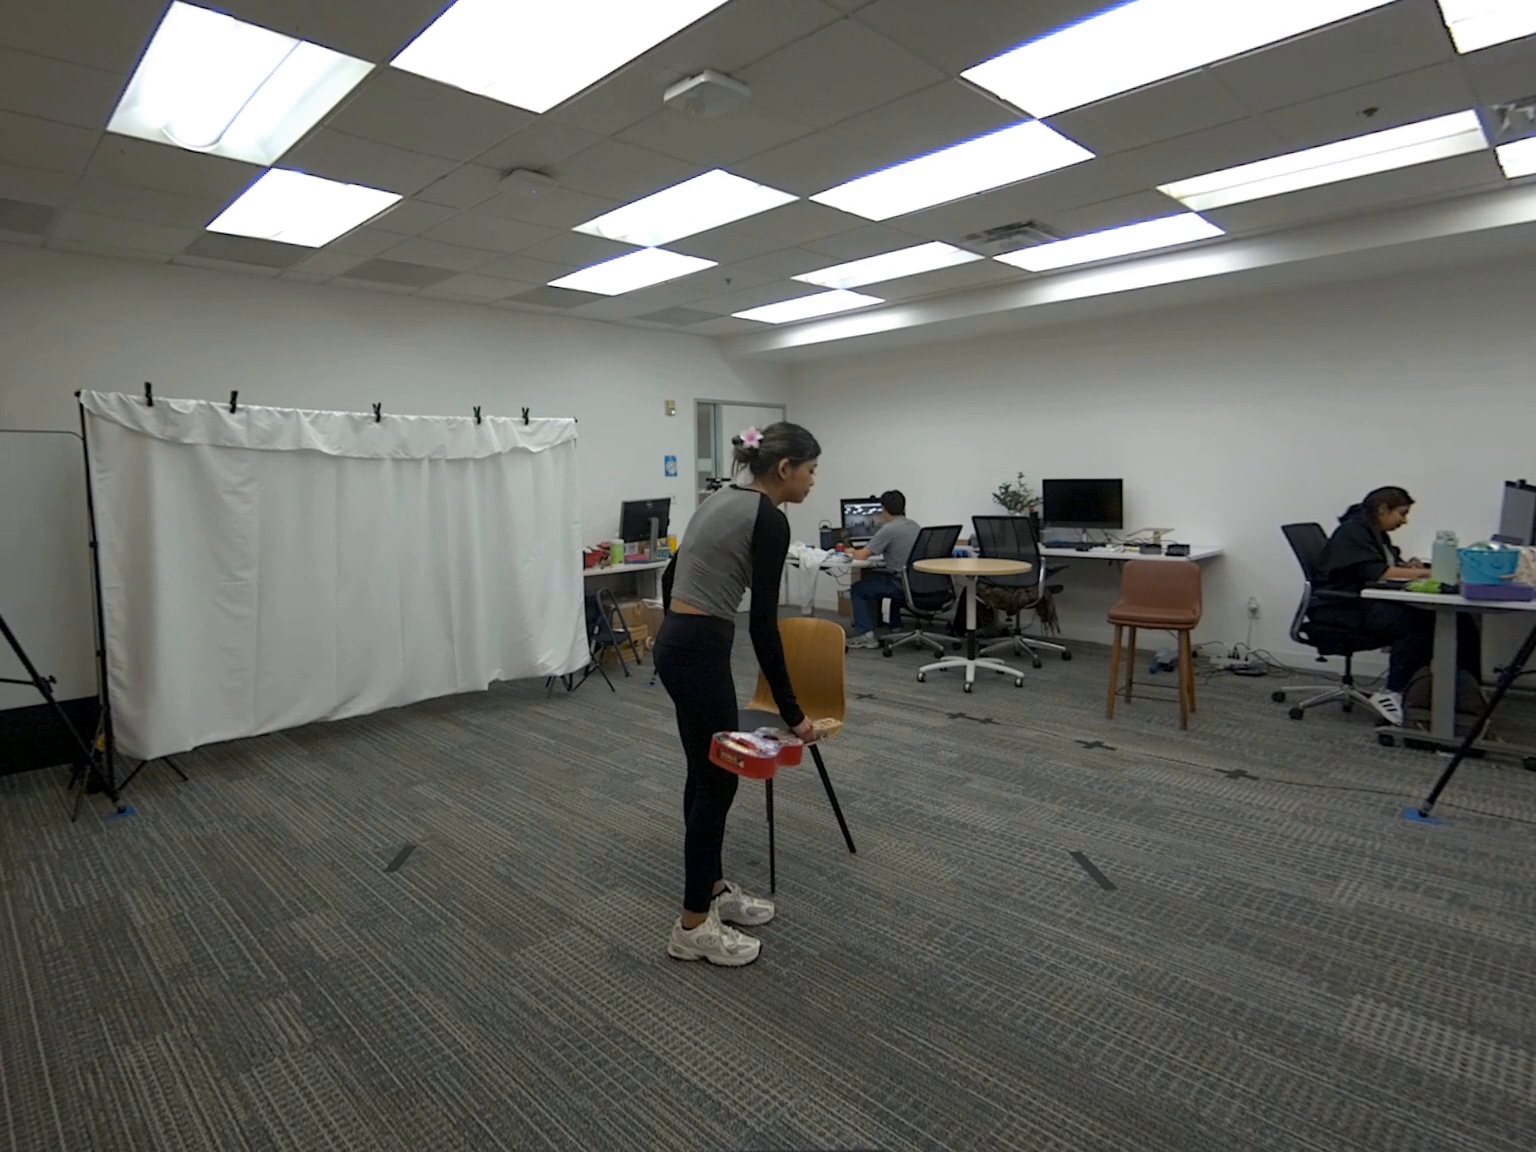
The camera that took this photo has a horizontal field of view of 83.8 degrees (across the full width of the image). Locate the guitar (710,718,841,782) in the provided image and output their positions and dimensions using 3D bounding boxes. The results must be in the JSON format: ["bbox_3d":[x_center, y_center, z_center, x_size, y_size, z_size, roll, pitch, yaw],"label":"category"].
[{"bbox_3d":[0.082,0.483,2.385,0.483,0.070,0.199,1,9,-41],"label":"guitar"}]
